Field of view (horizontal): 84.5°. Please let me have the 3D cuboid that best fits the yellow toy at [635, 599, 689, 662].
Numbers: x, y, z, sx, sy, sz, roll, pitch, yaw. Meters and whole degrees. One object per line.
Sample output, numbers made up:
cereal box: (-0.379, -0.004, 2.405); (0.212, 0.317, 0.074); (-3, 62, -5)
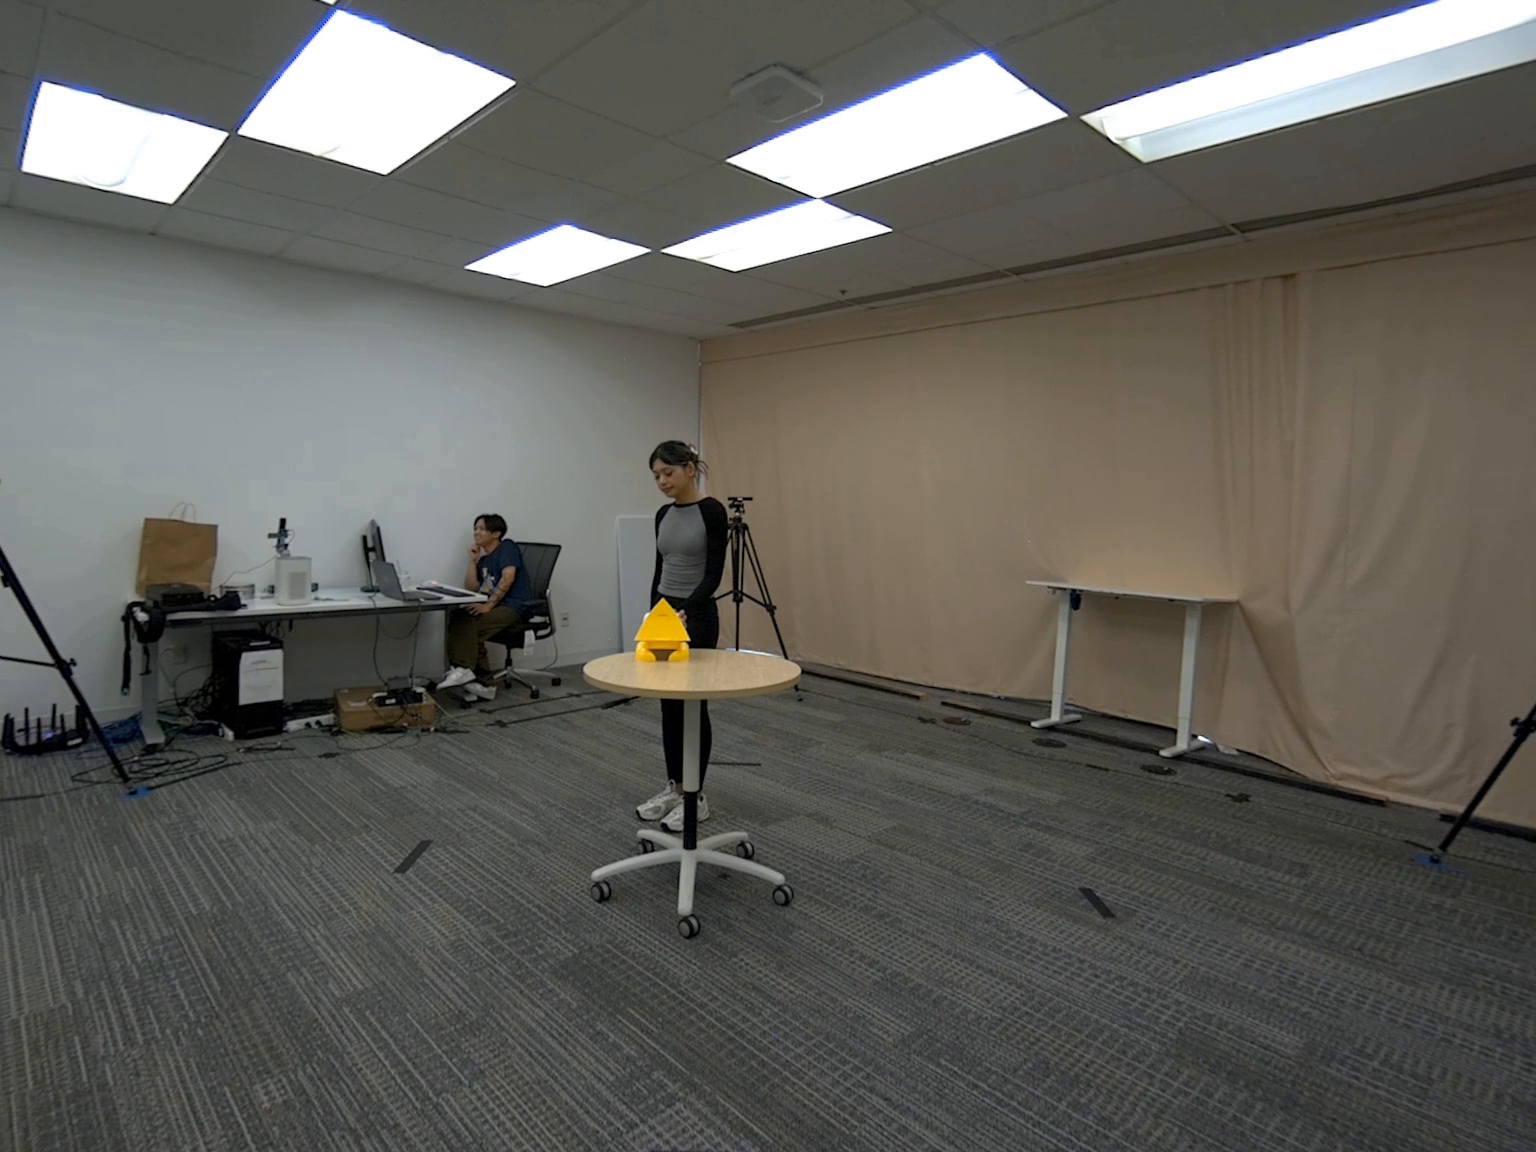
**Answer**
yellow toy: (-0.414, 0.193, 3.159); (0.204, 0.230, 0.194); (1, 6, -5)
